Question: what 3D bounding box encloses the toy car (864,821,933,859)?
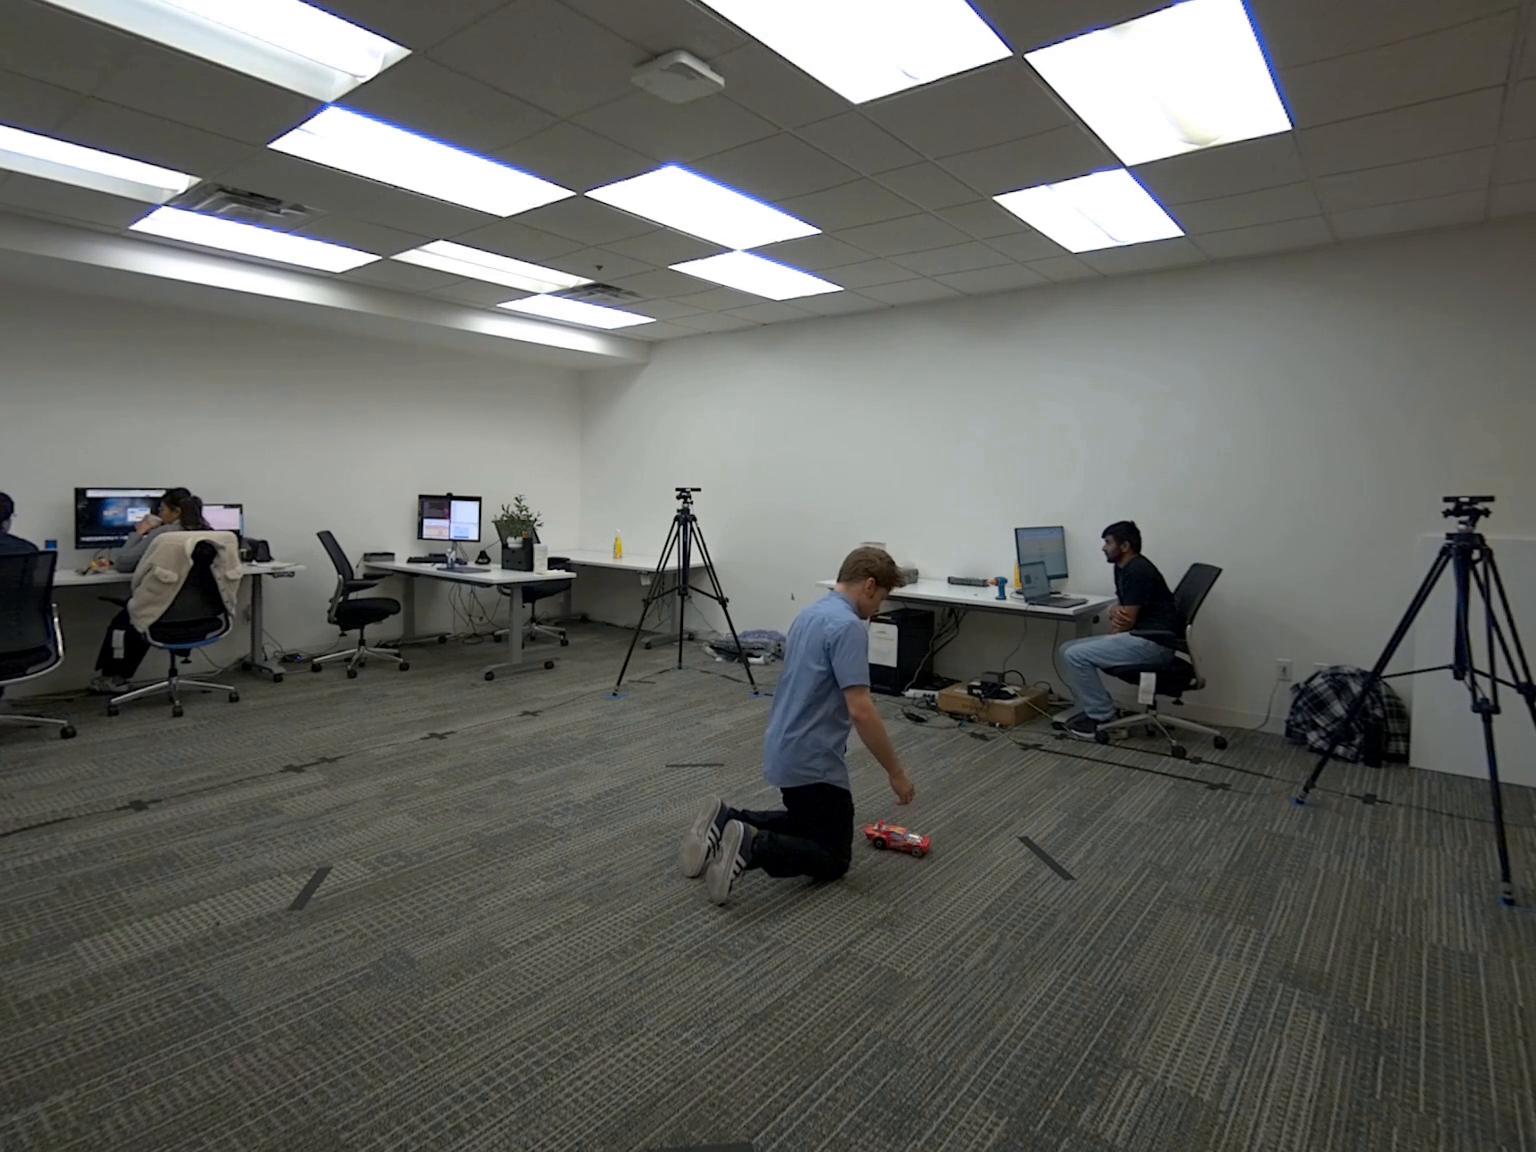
[{"bbox_3d":[0.496,1.033,3.339,0.262,0.083,0.127,16,9,22],"label":"toy car"}]
